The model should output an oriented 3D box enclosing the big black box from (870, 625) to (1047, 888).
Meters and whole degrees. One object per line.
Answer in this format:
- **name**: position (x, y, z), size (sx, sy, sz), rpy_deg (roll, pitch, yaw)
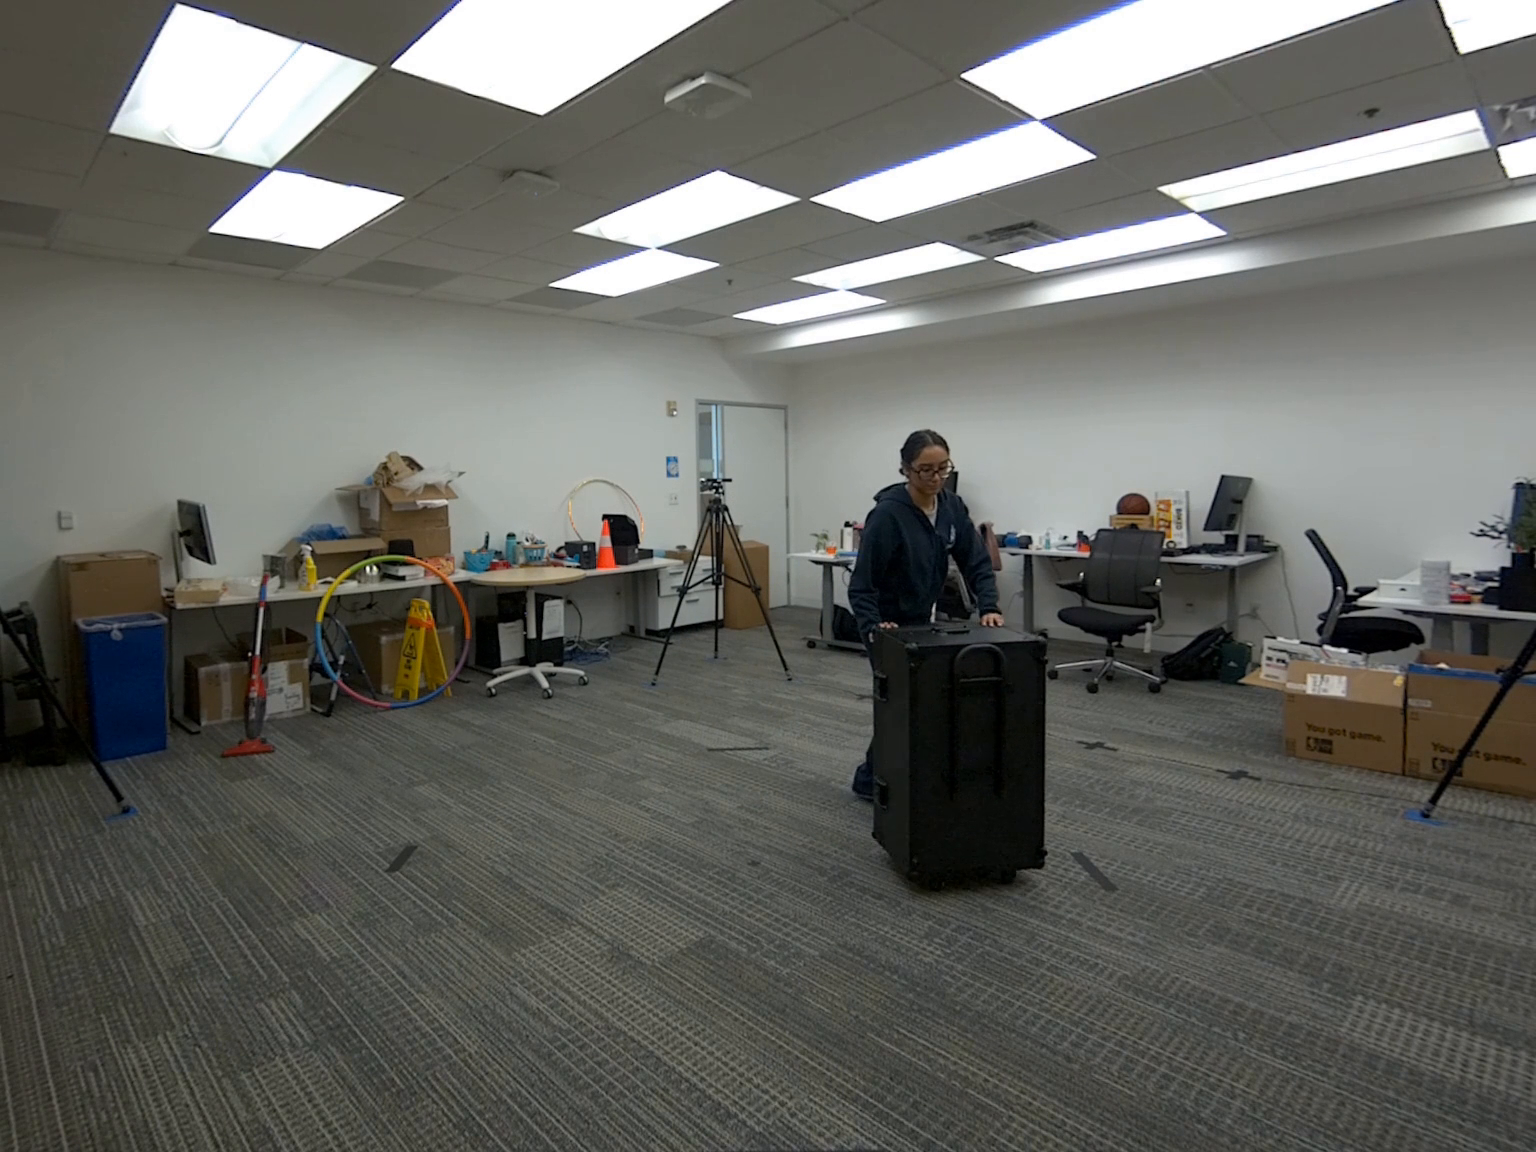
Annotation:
- **big black box**: position (0.662, 0.621, 2.977), size (0.516, 0.857, 0.402), rpy_deg (-2, 5, -11)
